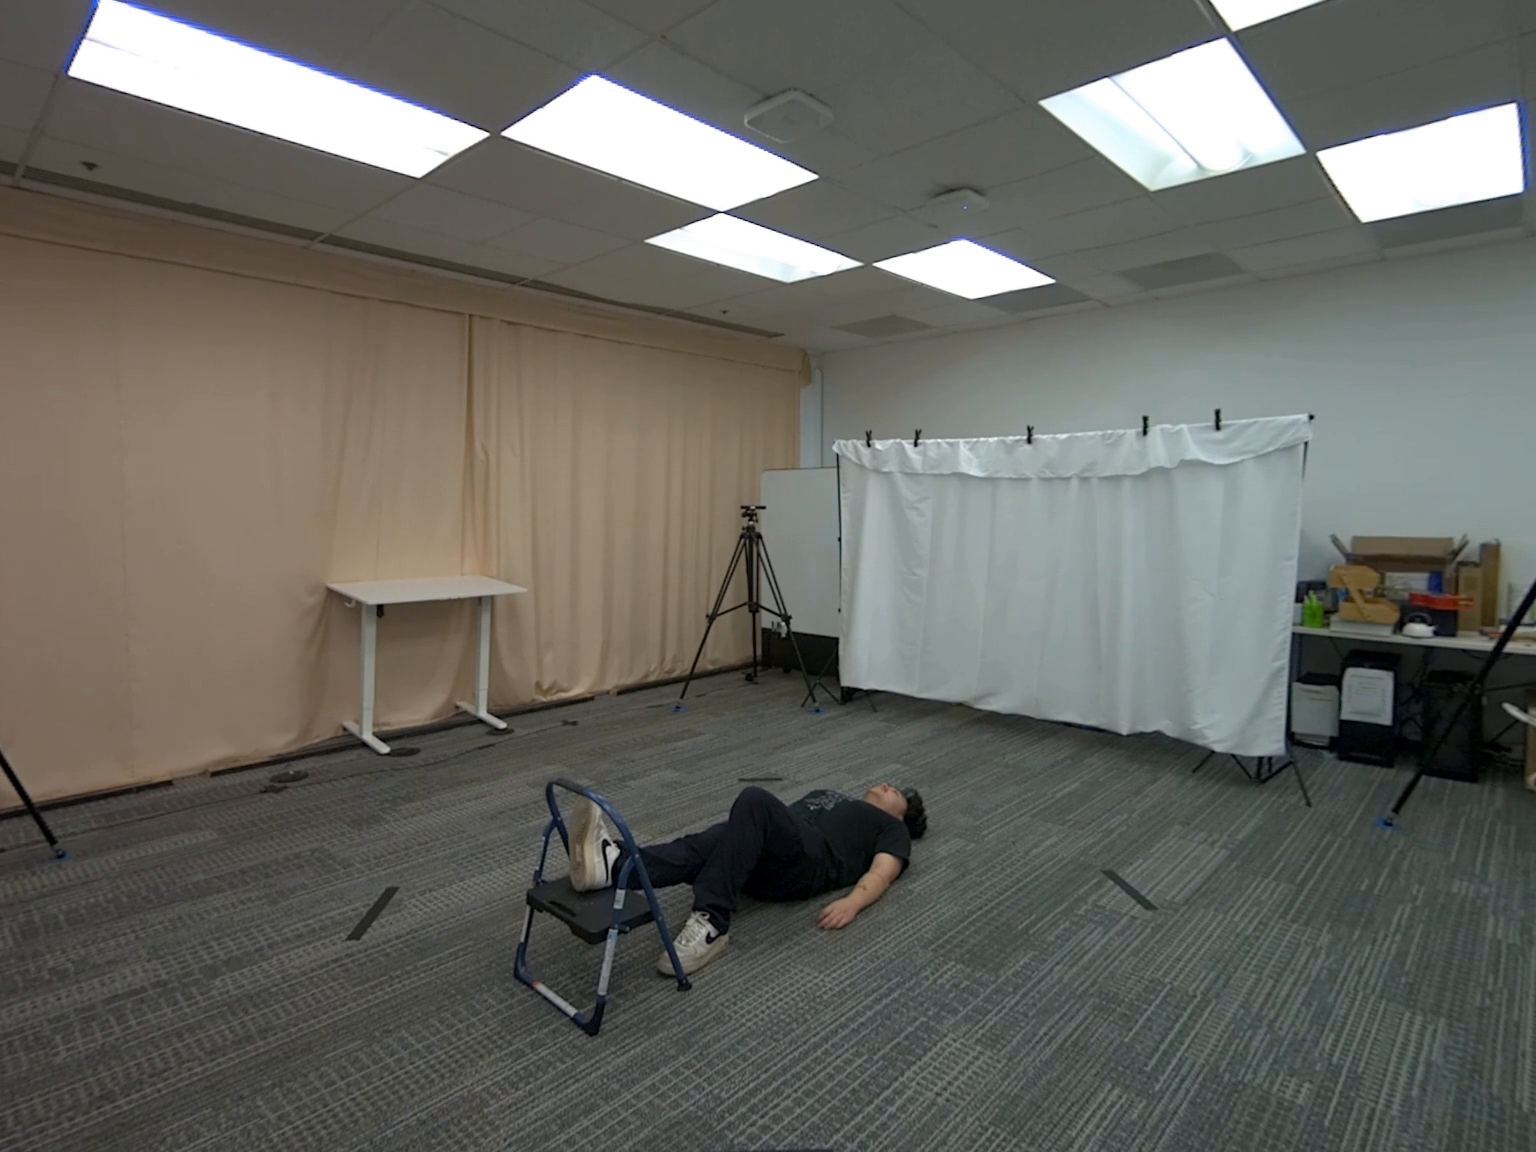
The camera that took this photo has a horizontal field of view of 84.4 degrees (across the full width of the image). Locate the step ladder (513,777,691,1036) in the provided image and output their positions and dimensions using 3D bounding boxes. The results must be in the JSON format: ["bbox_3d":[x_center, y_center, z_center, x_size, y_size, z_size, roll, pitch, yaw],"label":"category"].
[{"bbox_3d":[-0.497,0.894,2.451,0.445,0.605,0.338,2,4,44],"label":"step ladder"}]
